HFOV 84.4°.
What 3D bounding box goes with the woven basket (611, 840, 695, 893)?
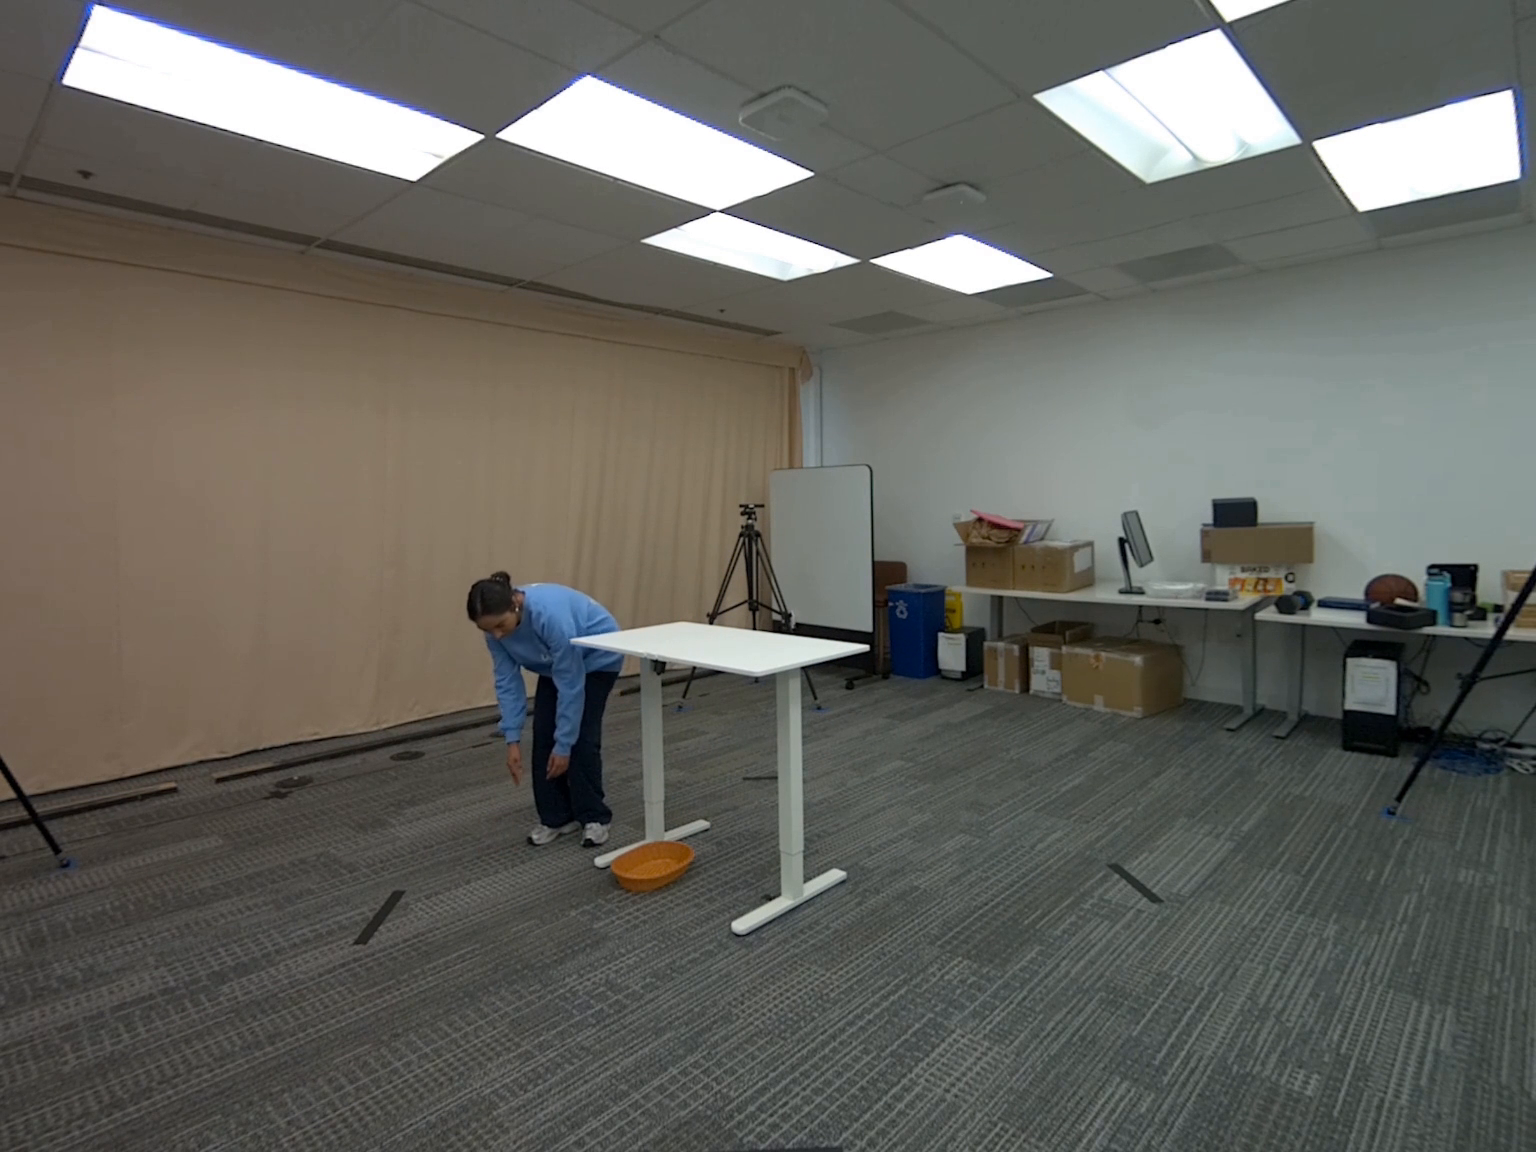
[{"bbox_3d":[-0.433,1.091,3.171,0.261,0.073,0.340,4,7,37],"label":"woven basket"}]
